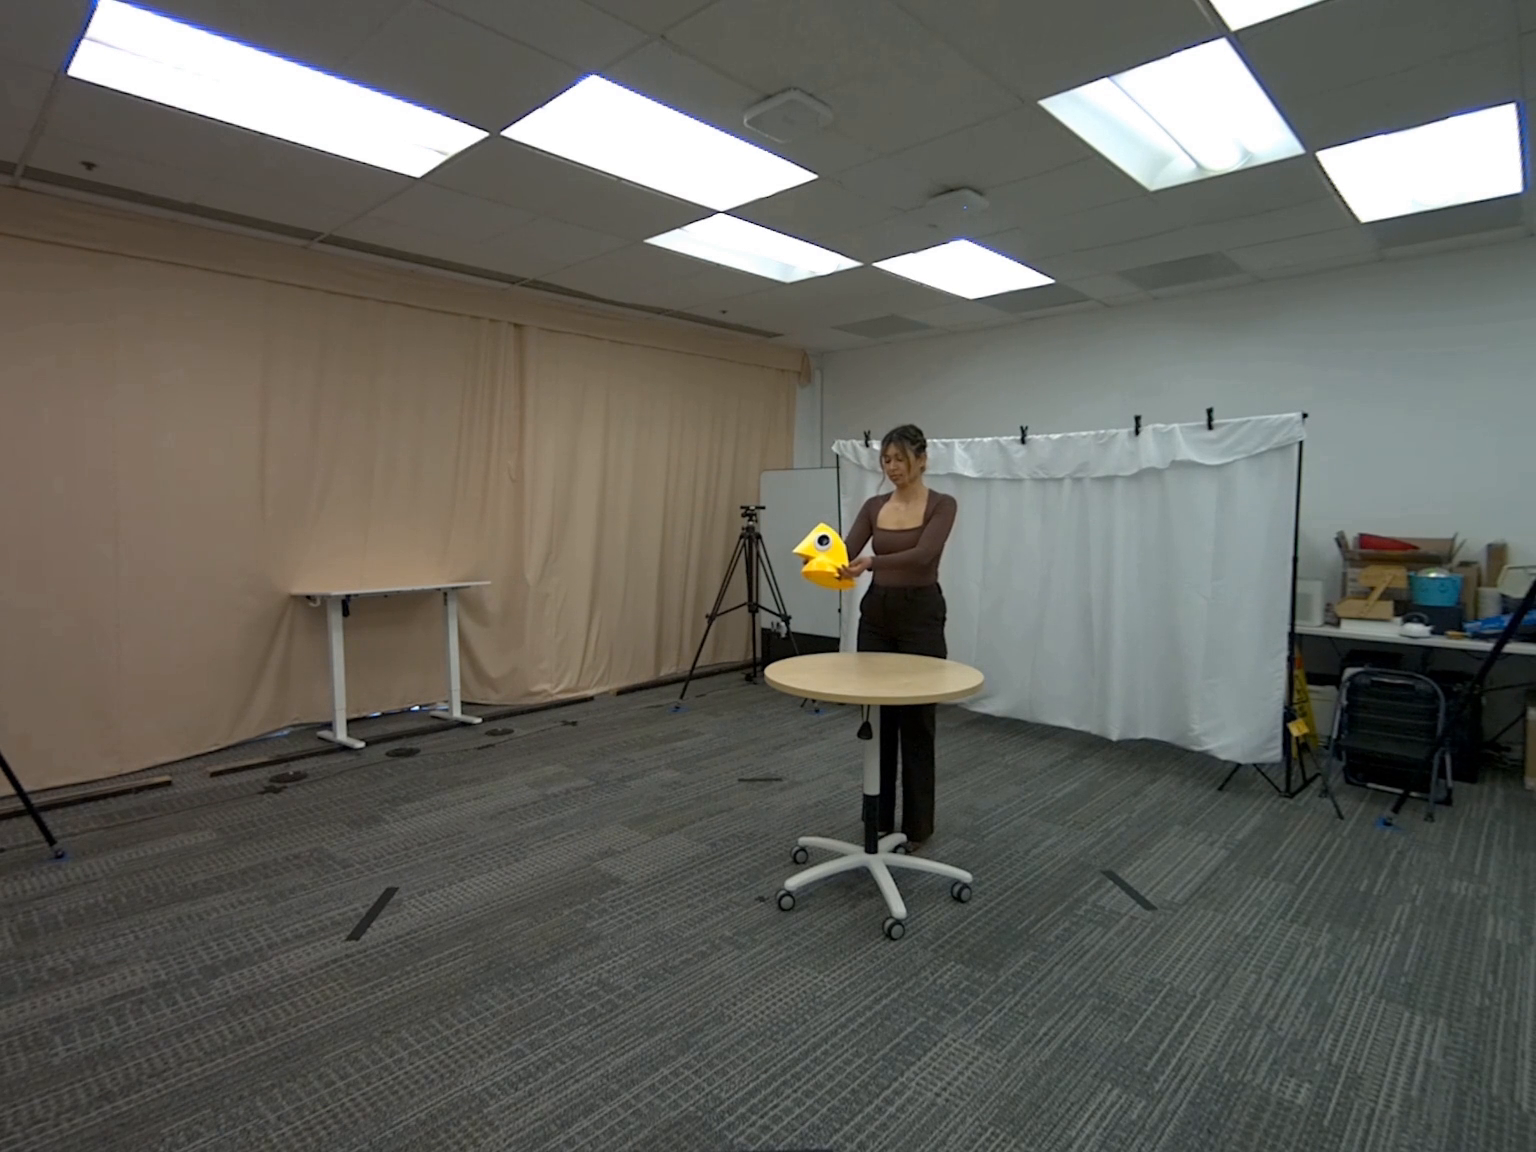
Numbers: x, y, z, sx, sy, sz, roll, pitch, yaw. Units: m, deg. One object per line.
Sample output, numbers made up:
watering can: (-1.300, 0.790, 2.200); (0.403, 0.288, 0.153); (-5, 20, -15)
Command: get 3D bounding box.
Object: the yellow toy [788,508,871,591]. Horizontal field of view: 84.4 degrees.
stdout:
yellow toy: (0.230, -0.093, 3.100); (0.199, 0.232, 0.197); (-5, -23, 40)
